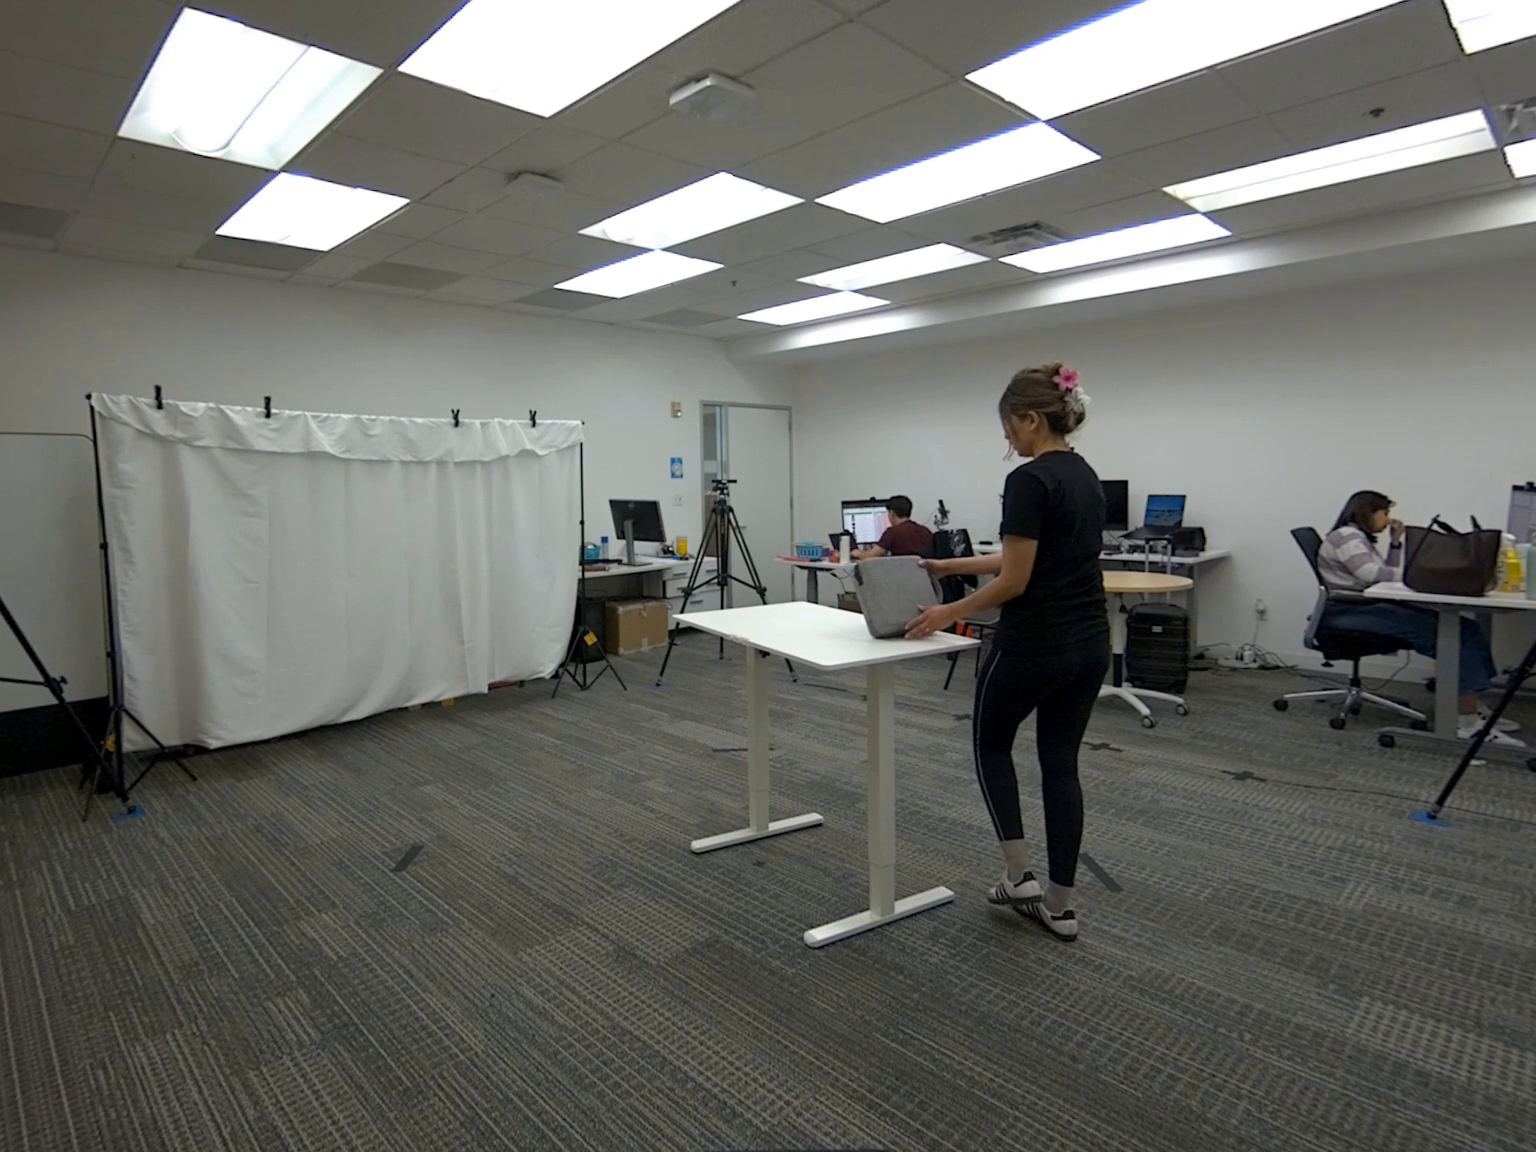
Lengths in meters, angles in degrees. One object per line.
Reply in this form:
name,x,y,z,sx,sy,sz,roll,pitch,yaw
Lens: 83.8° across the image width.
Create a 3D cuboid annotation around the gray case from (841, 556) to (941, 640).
gray case,0.430,0.063,2.808,0.255,0.262,0.104,-1,-23,-25
